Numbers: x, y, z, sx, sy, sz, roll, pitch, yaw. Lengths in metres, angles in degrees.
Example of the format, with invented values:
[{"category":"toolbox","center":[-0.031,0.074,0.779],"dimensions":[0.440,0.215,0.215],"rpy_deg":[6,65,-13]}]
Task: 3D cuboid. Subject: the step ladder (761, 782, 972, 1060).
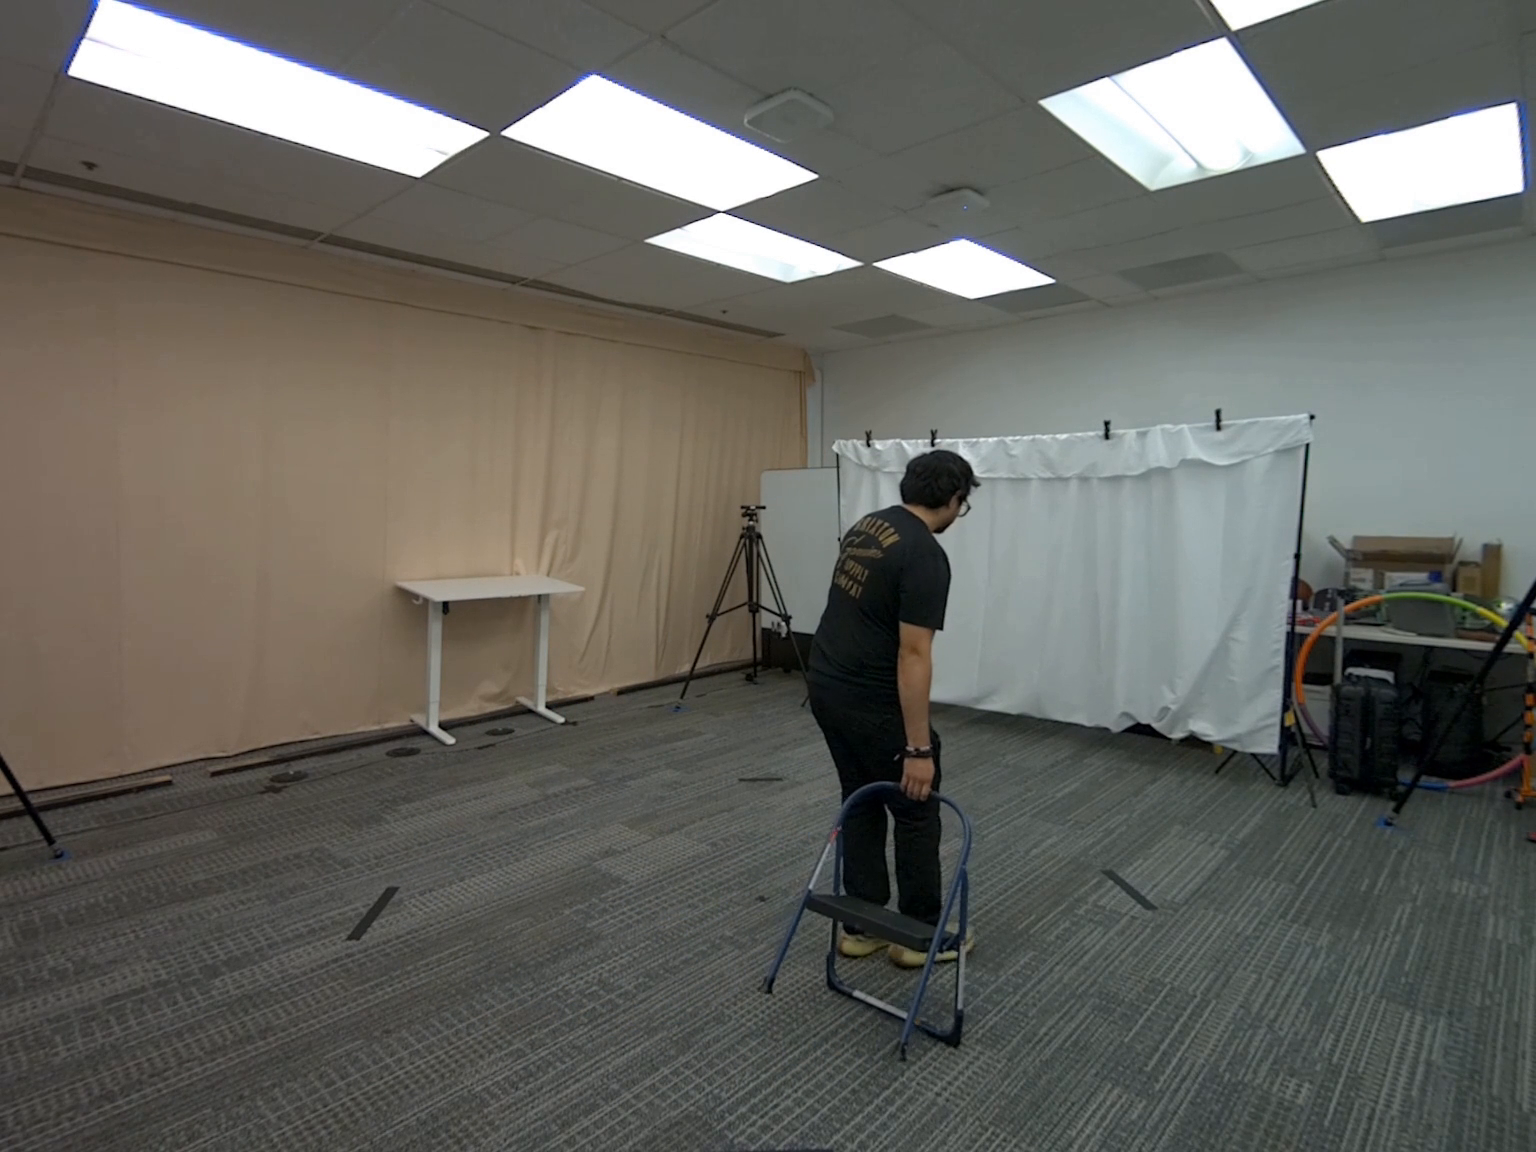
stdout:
[{"category":"step ladder","center":[0.310,0.866,2.248],"dimensions":[0.445,0.608,0.336],"rpy_deg":[4,-16,41]}]
